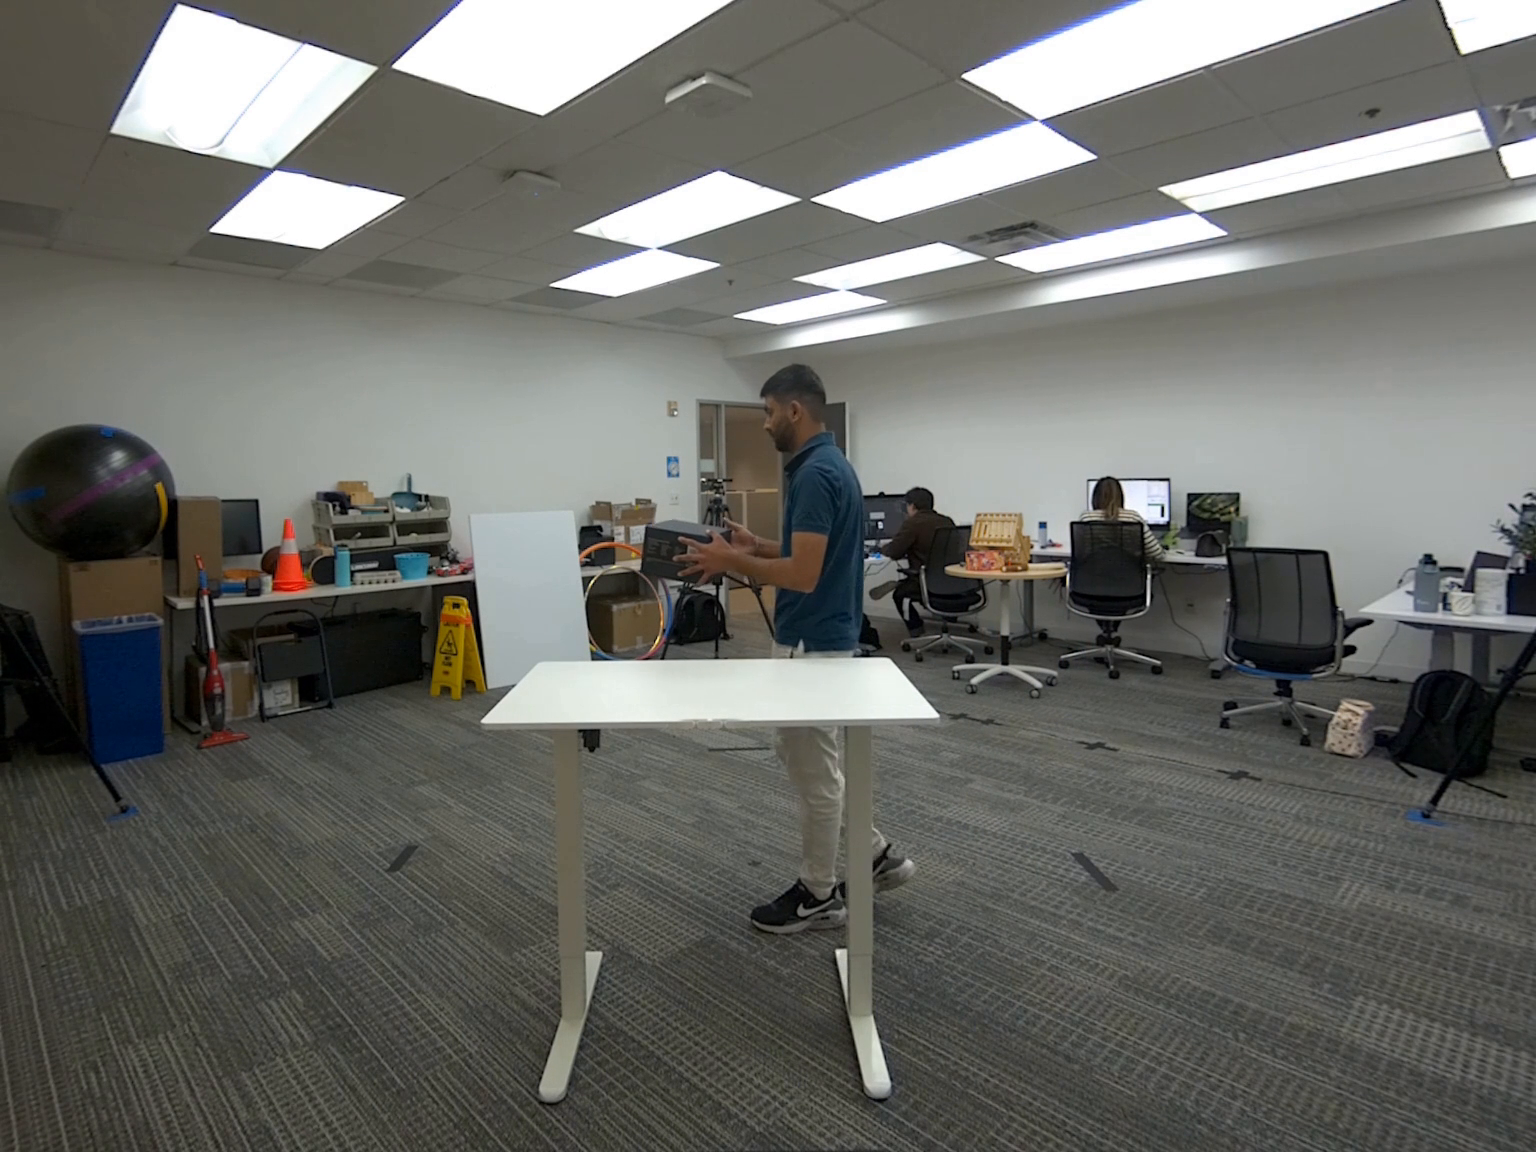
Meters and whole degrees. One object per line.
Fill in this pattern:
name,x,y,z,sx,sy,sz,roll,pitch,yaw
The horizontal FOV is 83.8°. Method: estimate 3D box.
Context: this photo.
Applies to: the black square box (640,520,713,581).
black square box,-0.258,-0.080,2.730,0.221,0.155,0.225,10,11,17
